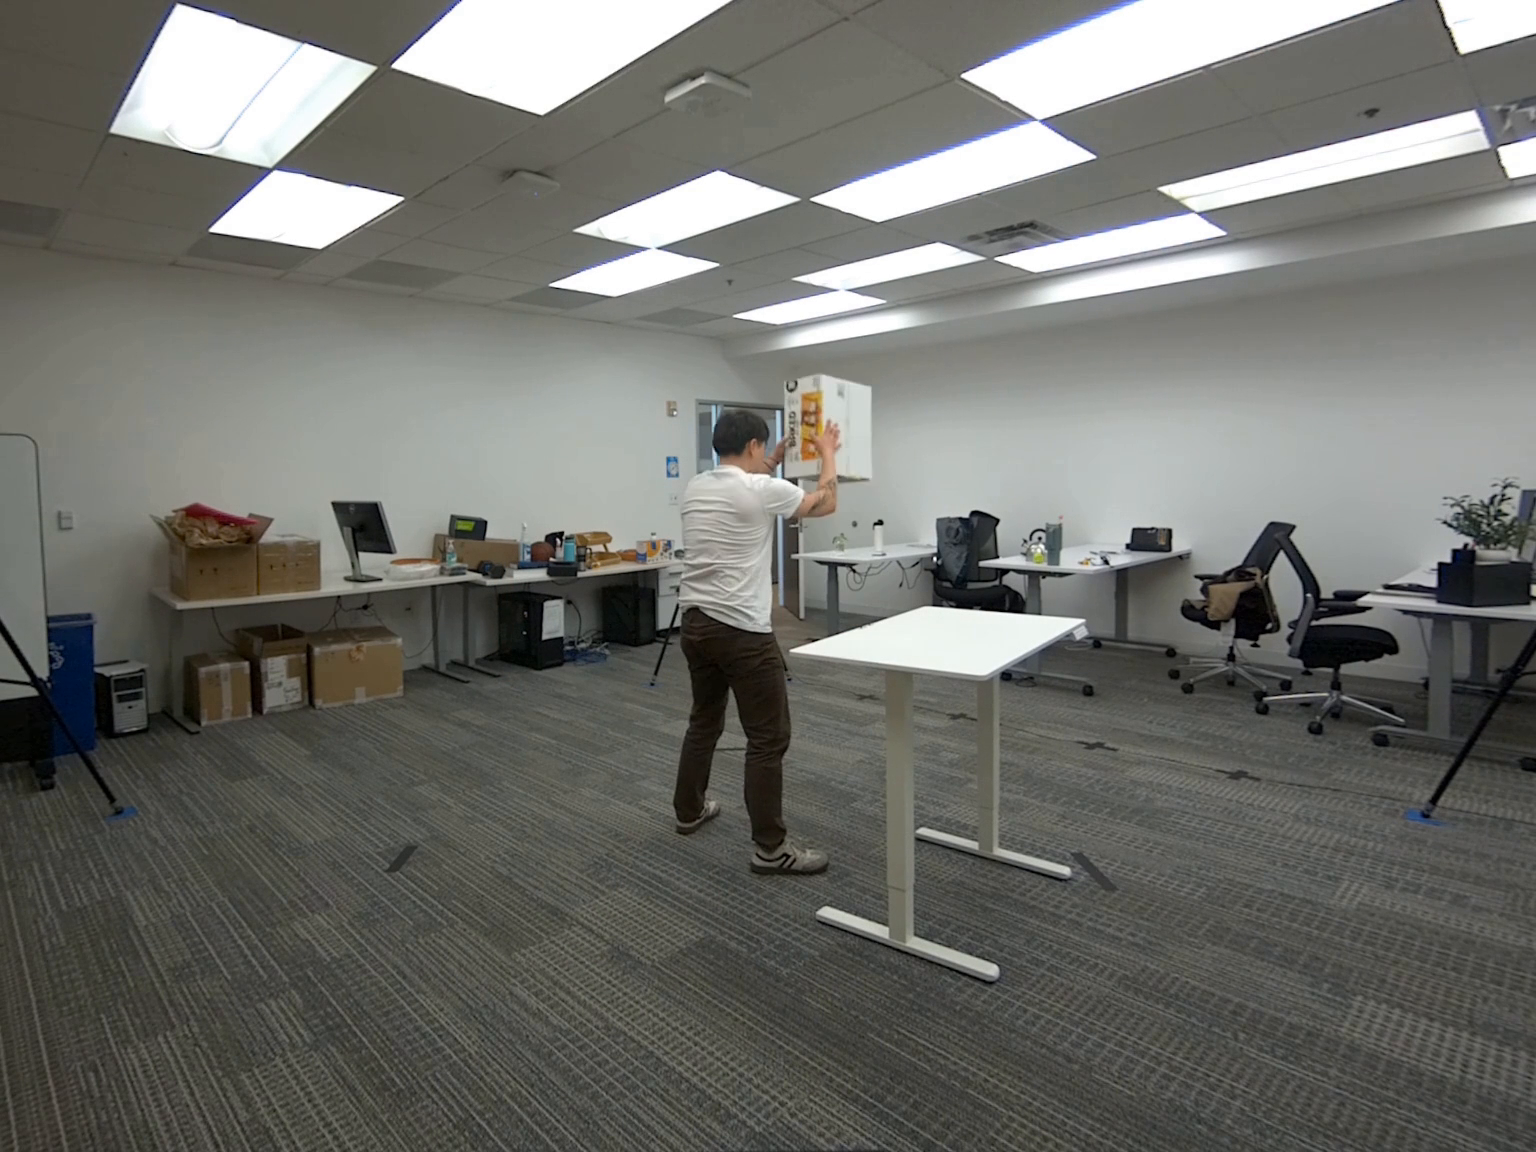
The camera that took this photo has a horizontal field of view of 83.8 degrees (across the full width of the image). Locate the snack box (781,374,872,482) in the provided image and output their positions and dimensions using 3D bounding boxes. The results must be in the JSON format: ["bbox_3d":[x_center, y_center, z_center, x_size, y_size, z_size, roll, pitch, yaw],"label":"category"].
[{"bbox_3d":[0.253,-0.585,3.606,0.211,0.406,0.330,-2,-3,44],"label":"snack box"}]
